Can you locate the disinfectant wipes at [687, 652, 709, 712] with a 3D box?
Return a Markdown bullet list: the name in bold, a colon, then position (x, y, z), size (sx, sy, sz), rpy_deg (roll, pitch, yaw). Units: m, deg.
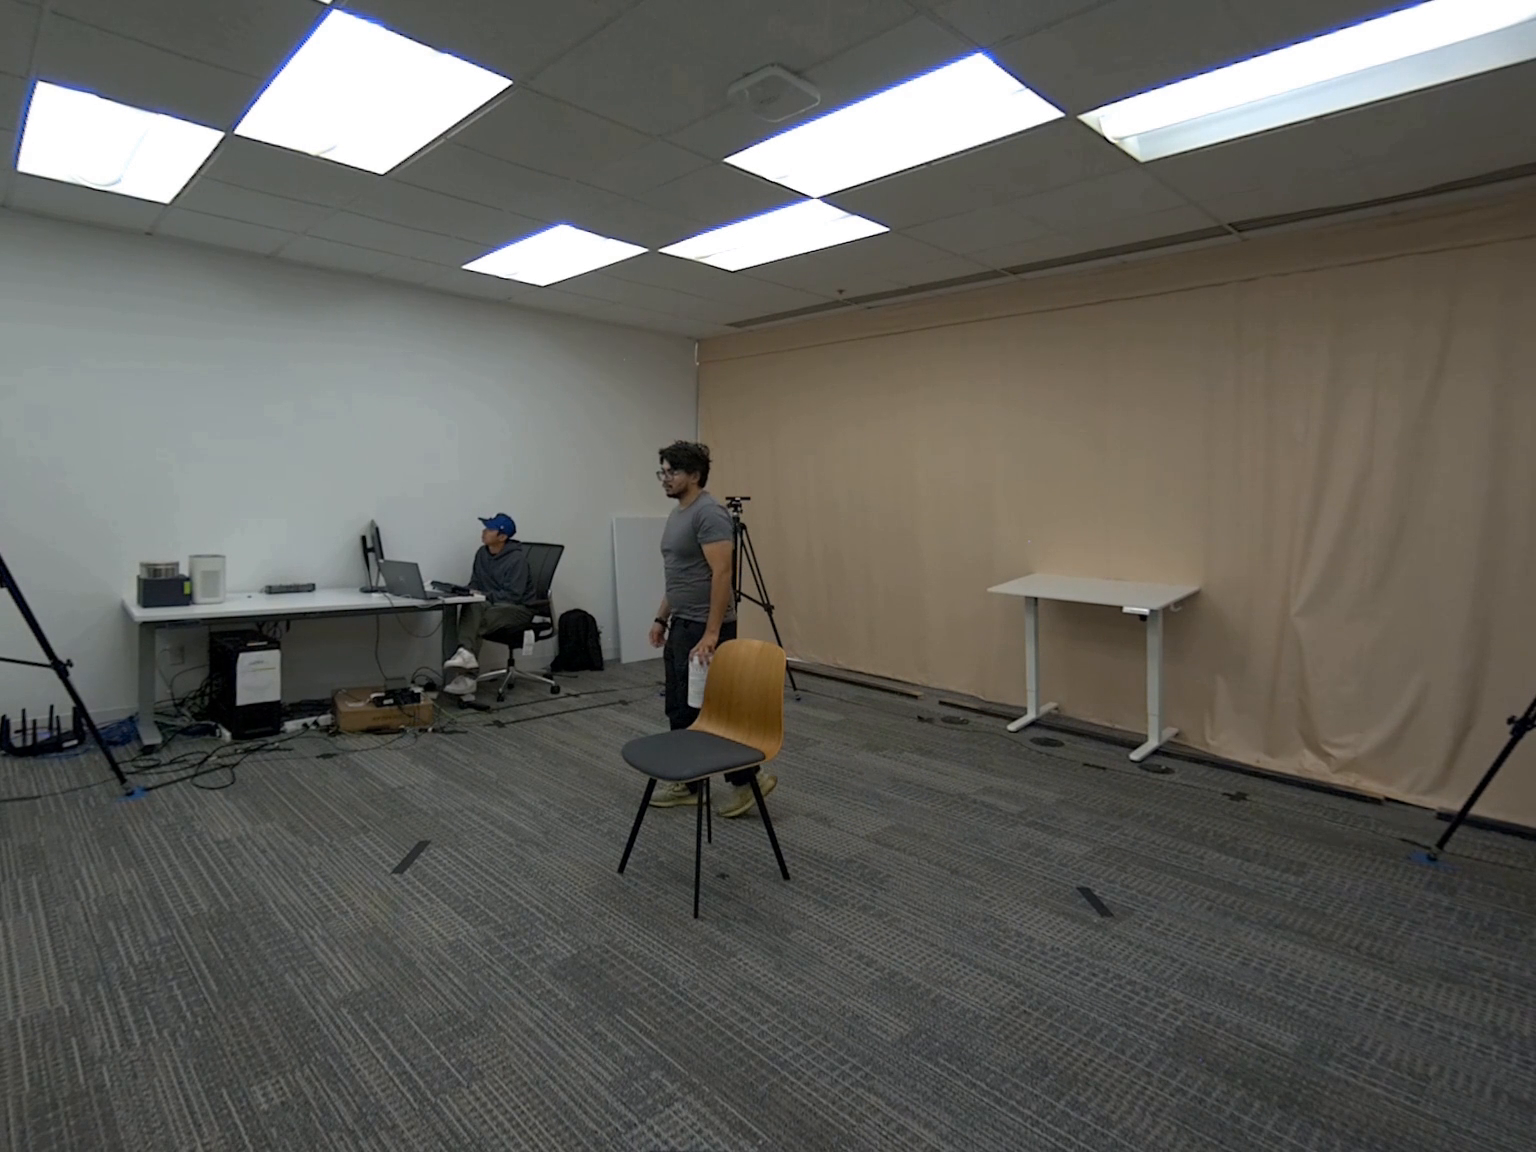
- **disinfectant wipes**: position (-0.283, 0.433, 3.488), size (0.117, 0.216, 0.118), rpy_deg (5, 7, -2)
